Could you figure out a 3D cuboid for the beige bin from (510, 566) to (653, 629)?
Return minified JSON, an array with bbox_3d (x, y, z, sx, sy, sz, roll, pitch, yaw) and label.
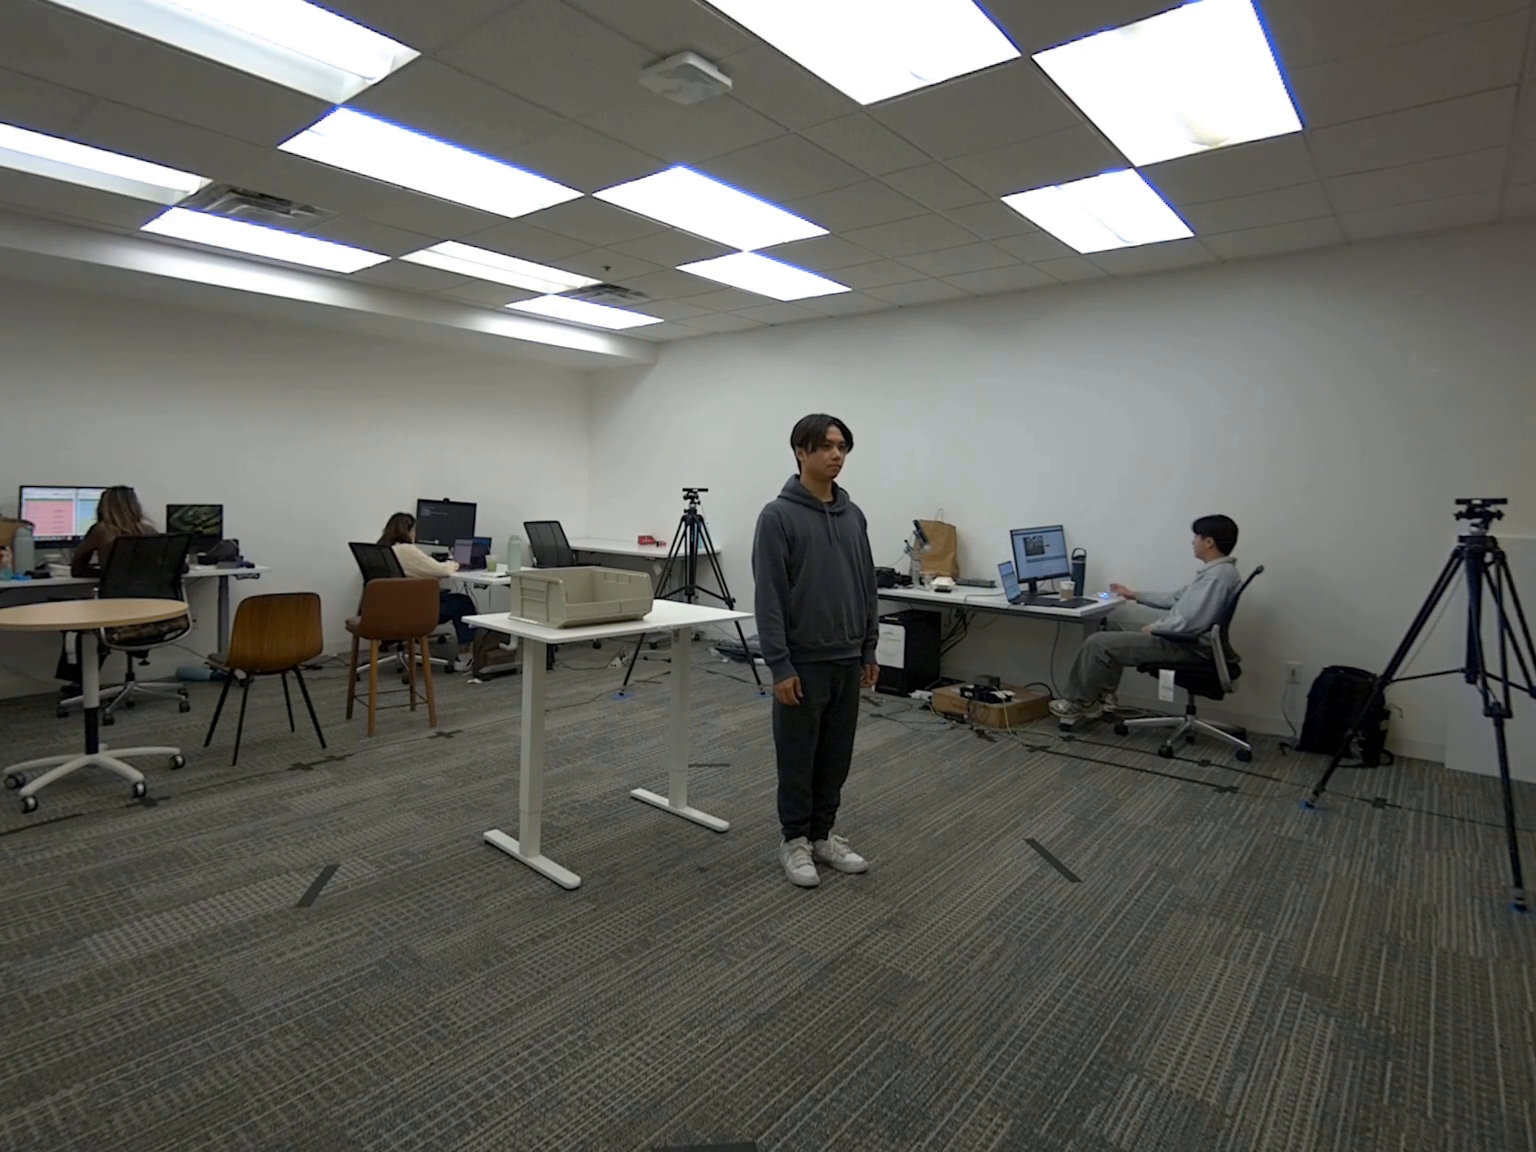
[{"bbox_3d":[-0.726,0.077,3.234,0.390,0.188,0.409,6,6,43],"label":"beige bin"}]
